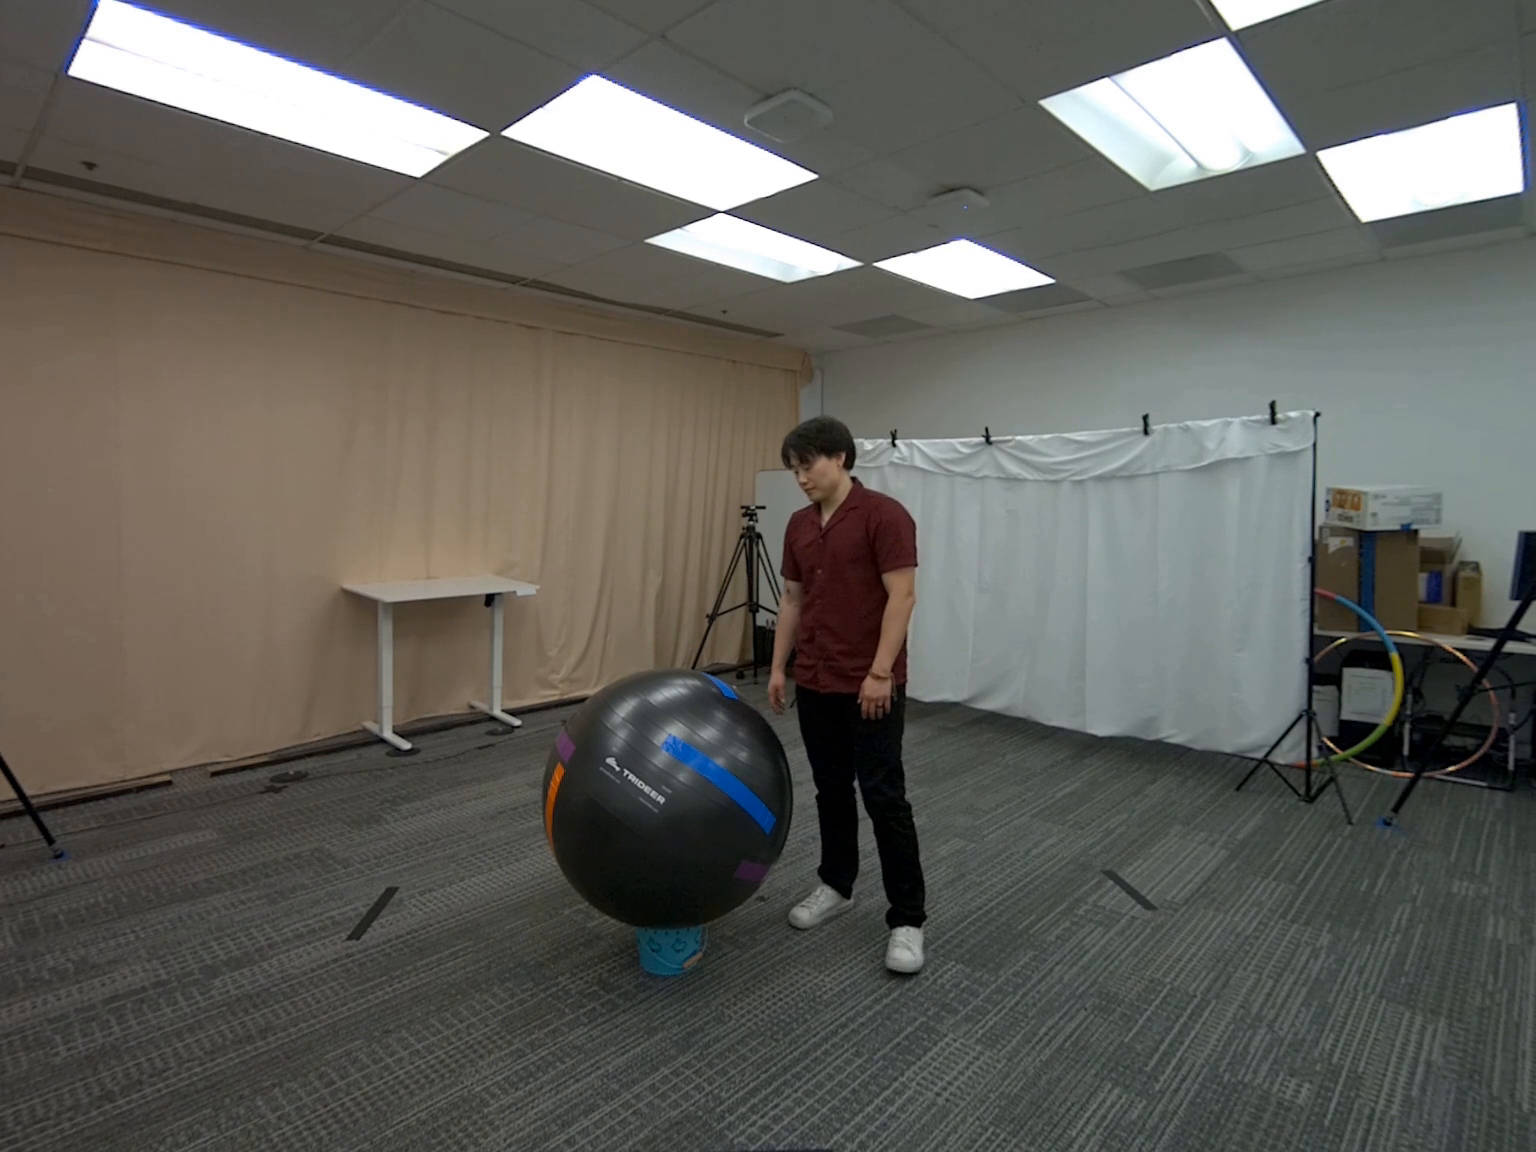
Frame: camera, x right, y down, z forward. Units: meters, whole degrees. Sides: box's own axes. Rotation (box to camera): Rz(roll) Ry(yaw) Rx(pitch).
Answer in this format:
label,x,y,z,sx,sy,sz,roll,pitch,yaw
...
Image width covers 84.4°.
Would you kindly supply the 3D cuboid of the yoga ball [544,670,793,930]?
label,x,y,z,sx,sy,sz,roll,pitch,yaw
yoga ball,-0.307,0.672,2.568,0.757,0.756,0.760,0,4,-2
